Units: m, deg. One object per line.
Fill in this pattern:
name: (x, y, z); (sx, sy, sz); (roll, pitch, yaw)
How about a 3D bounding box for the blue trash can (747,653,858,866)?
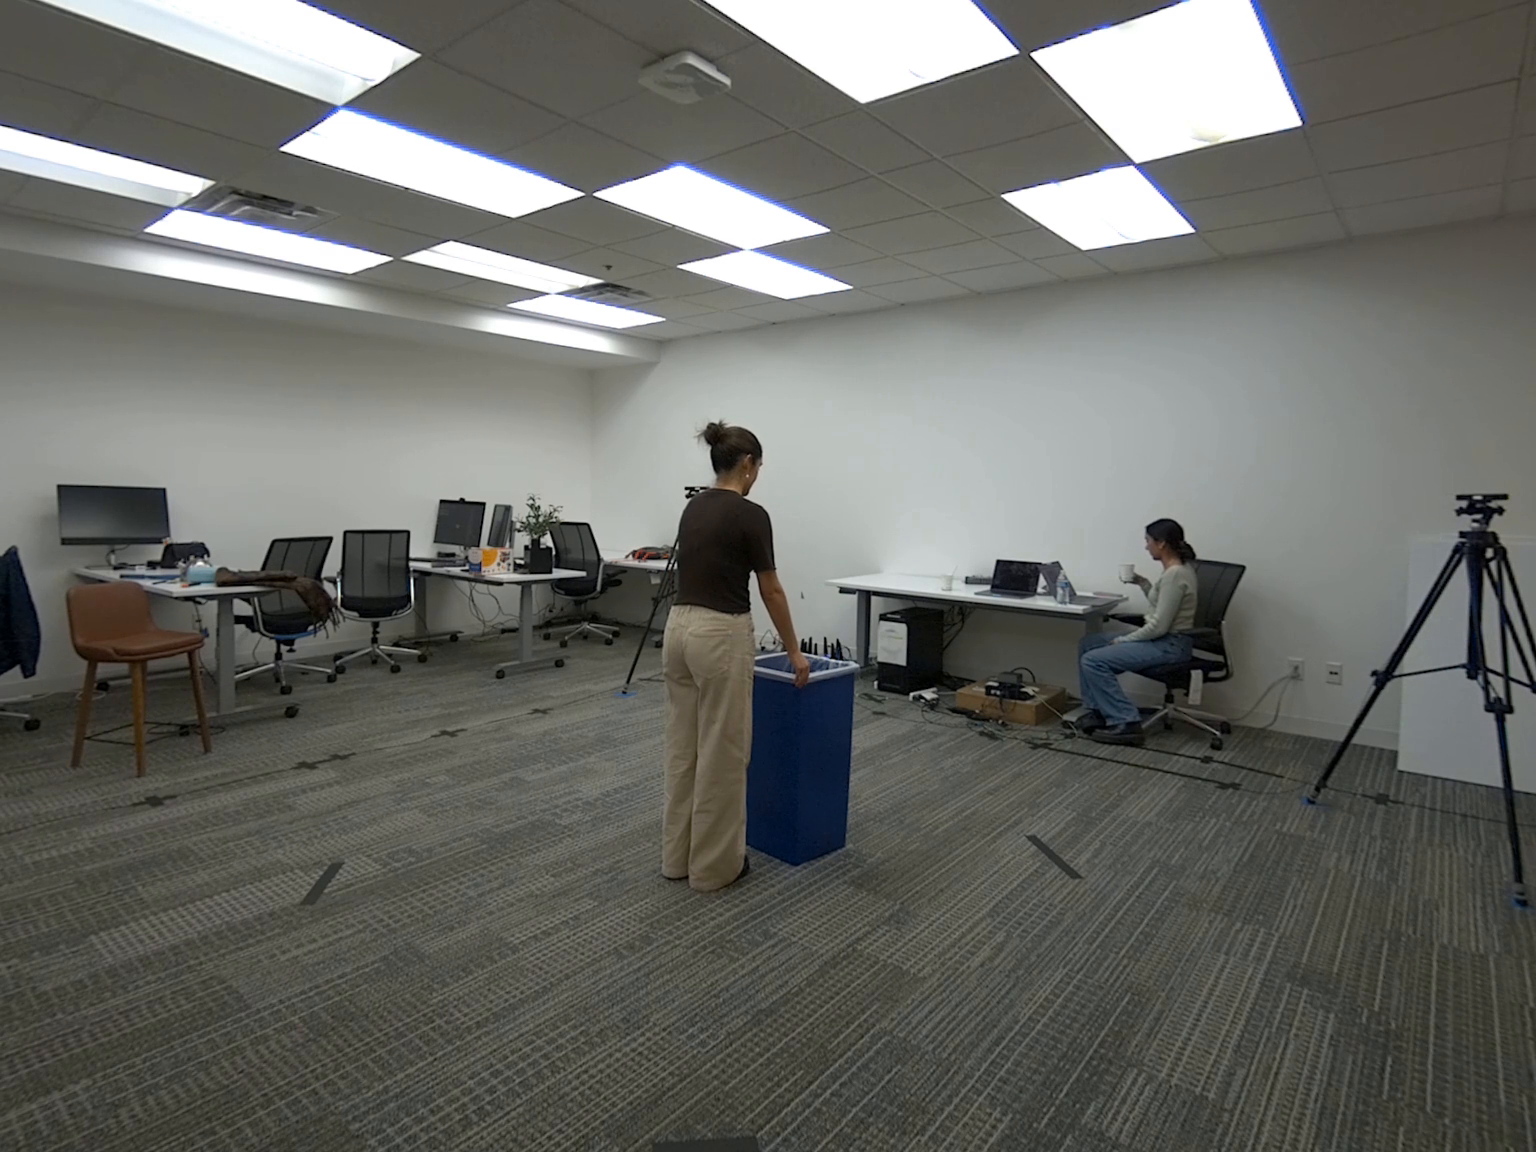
blue trash can: (0.096, 0.691, 3.316); (0.362, 0.712, 0.391); (-2, 4, -45)
